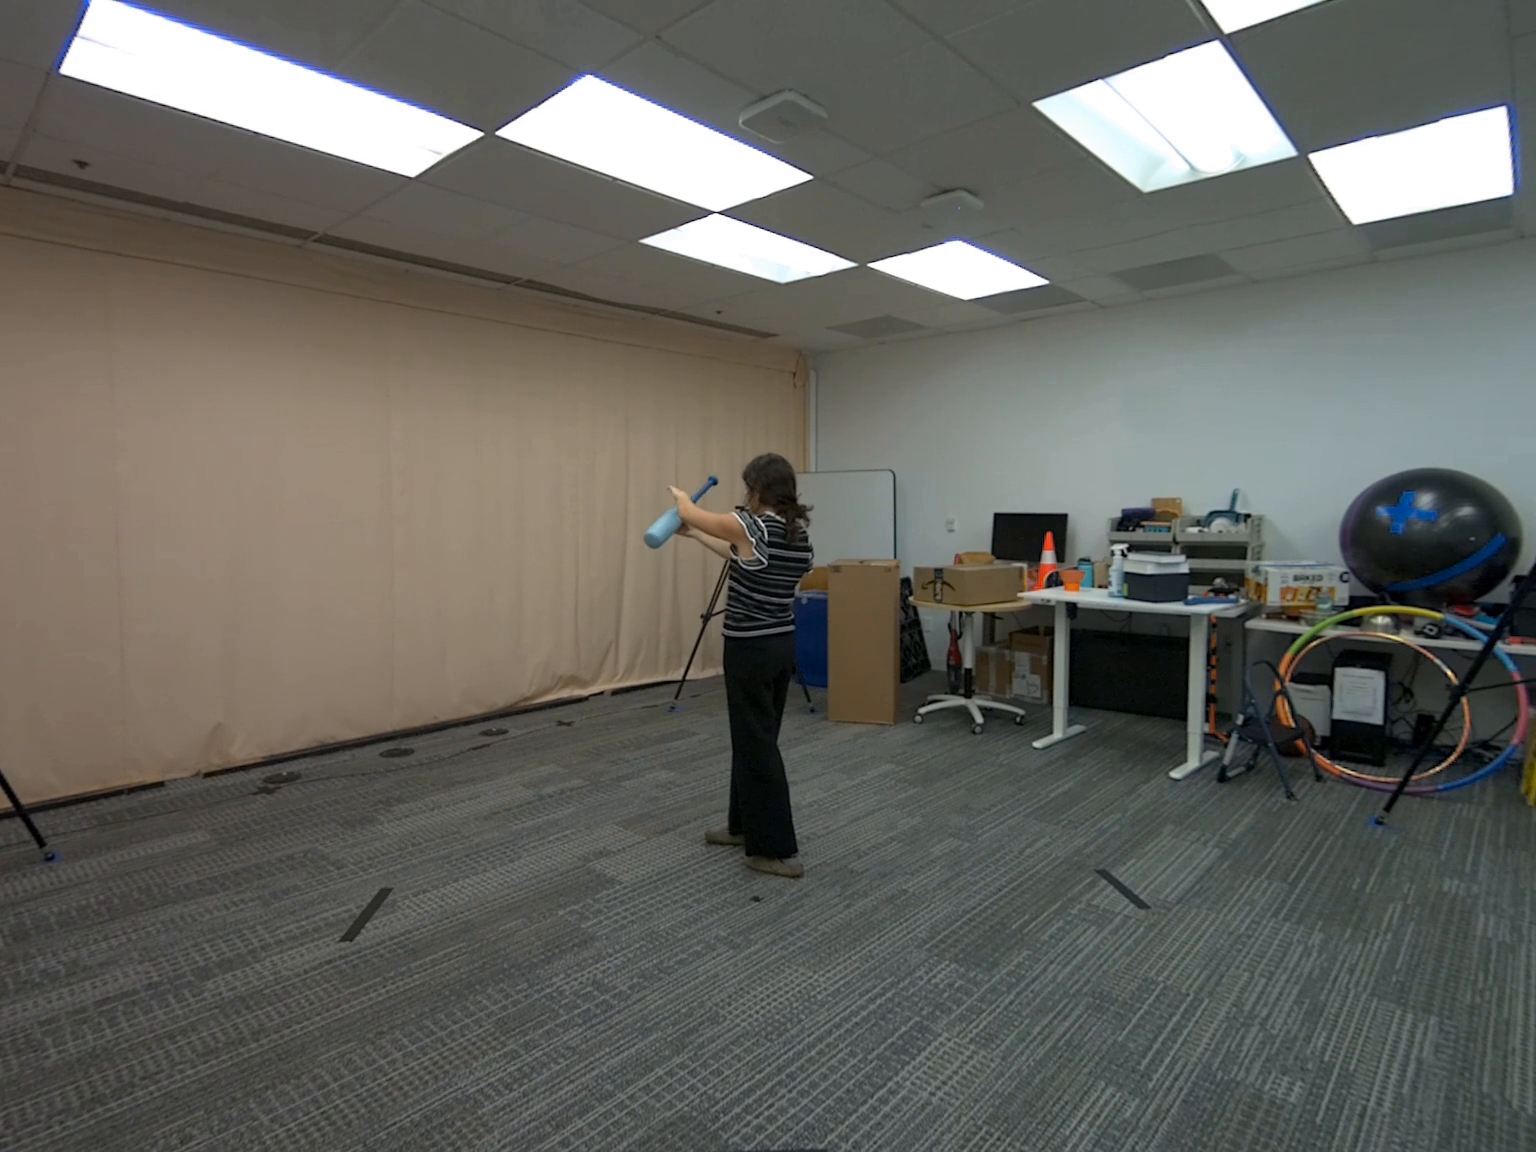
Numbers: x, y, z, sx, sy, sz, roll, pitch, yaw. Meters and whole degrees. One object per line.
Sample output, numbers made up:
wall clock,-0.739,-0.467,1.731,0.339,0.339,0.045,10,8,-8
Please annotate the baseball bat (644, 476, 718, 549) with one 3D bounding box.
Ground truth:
baseball bat,-0.360,-0.287,3.663,0.091,0.087,0.539,2,34,30
